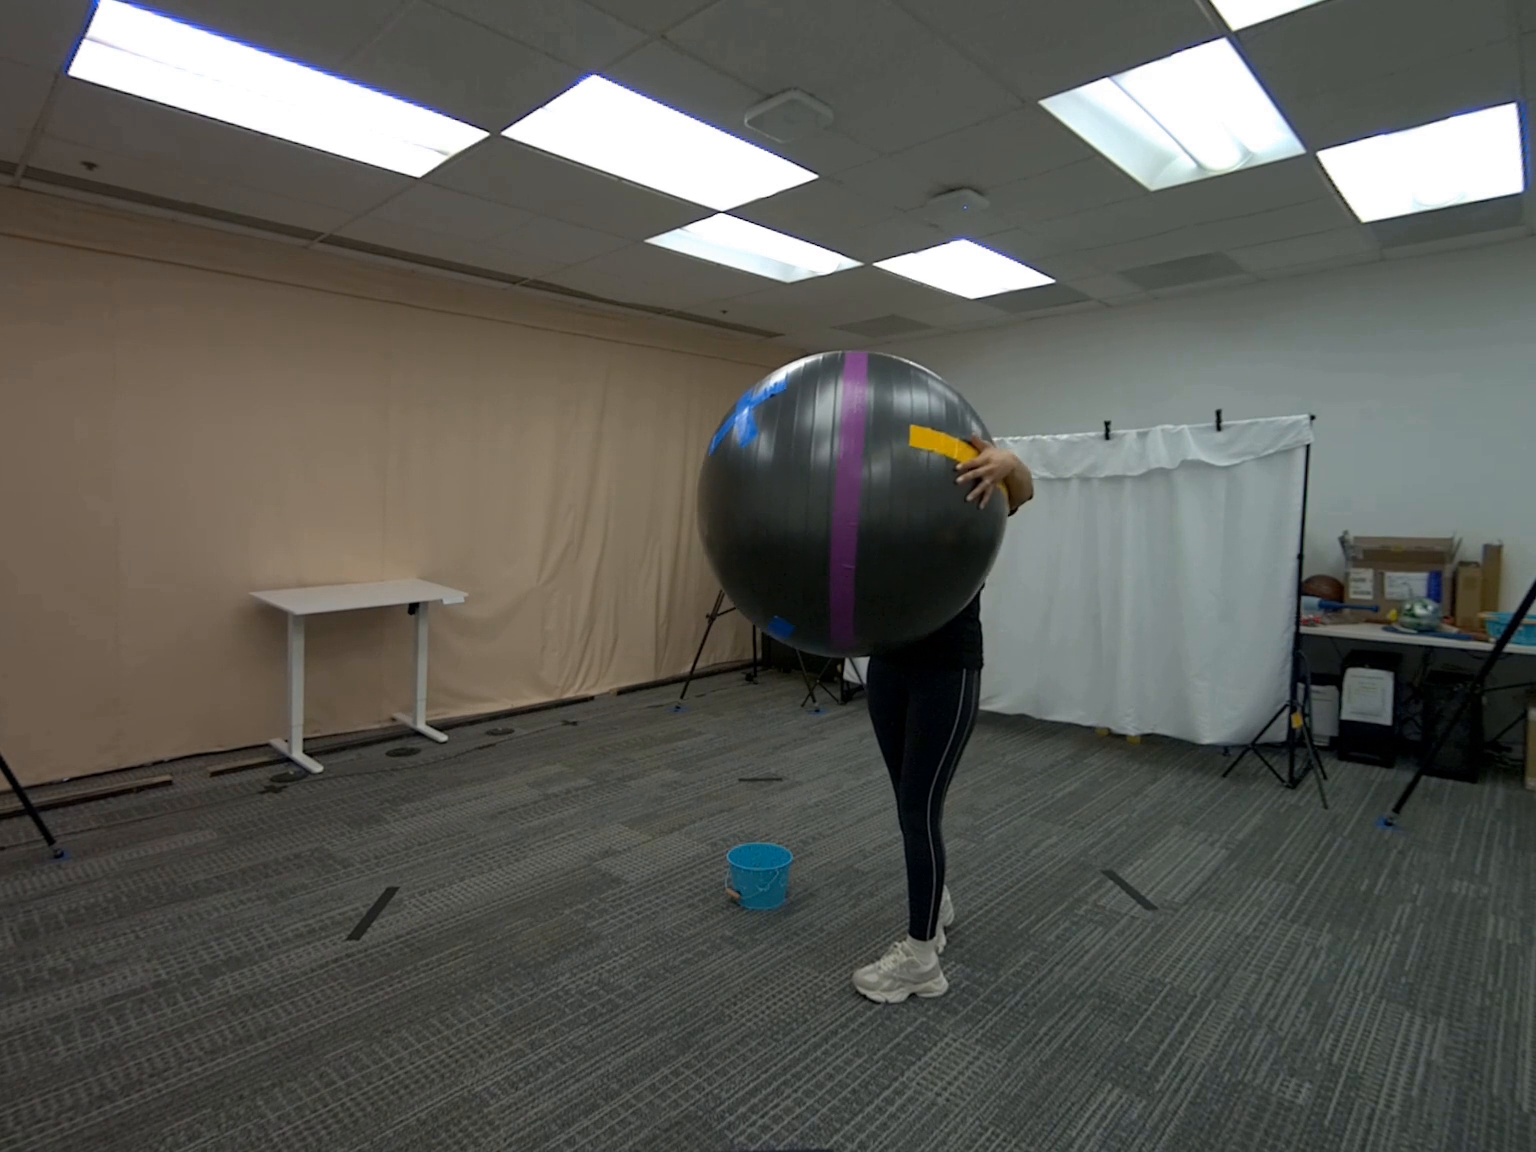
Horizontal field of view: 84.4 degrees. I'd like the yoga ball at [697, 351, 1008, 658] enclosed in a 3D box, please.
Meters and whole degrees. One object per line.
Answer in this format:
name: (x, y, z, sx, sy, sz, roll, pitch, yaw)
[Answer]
yoga ball: (0.196, -0.170, 2.099, 0.757, 0.756, 0.761, 0, 4, -2)
